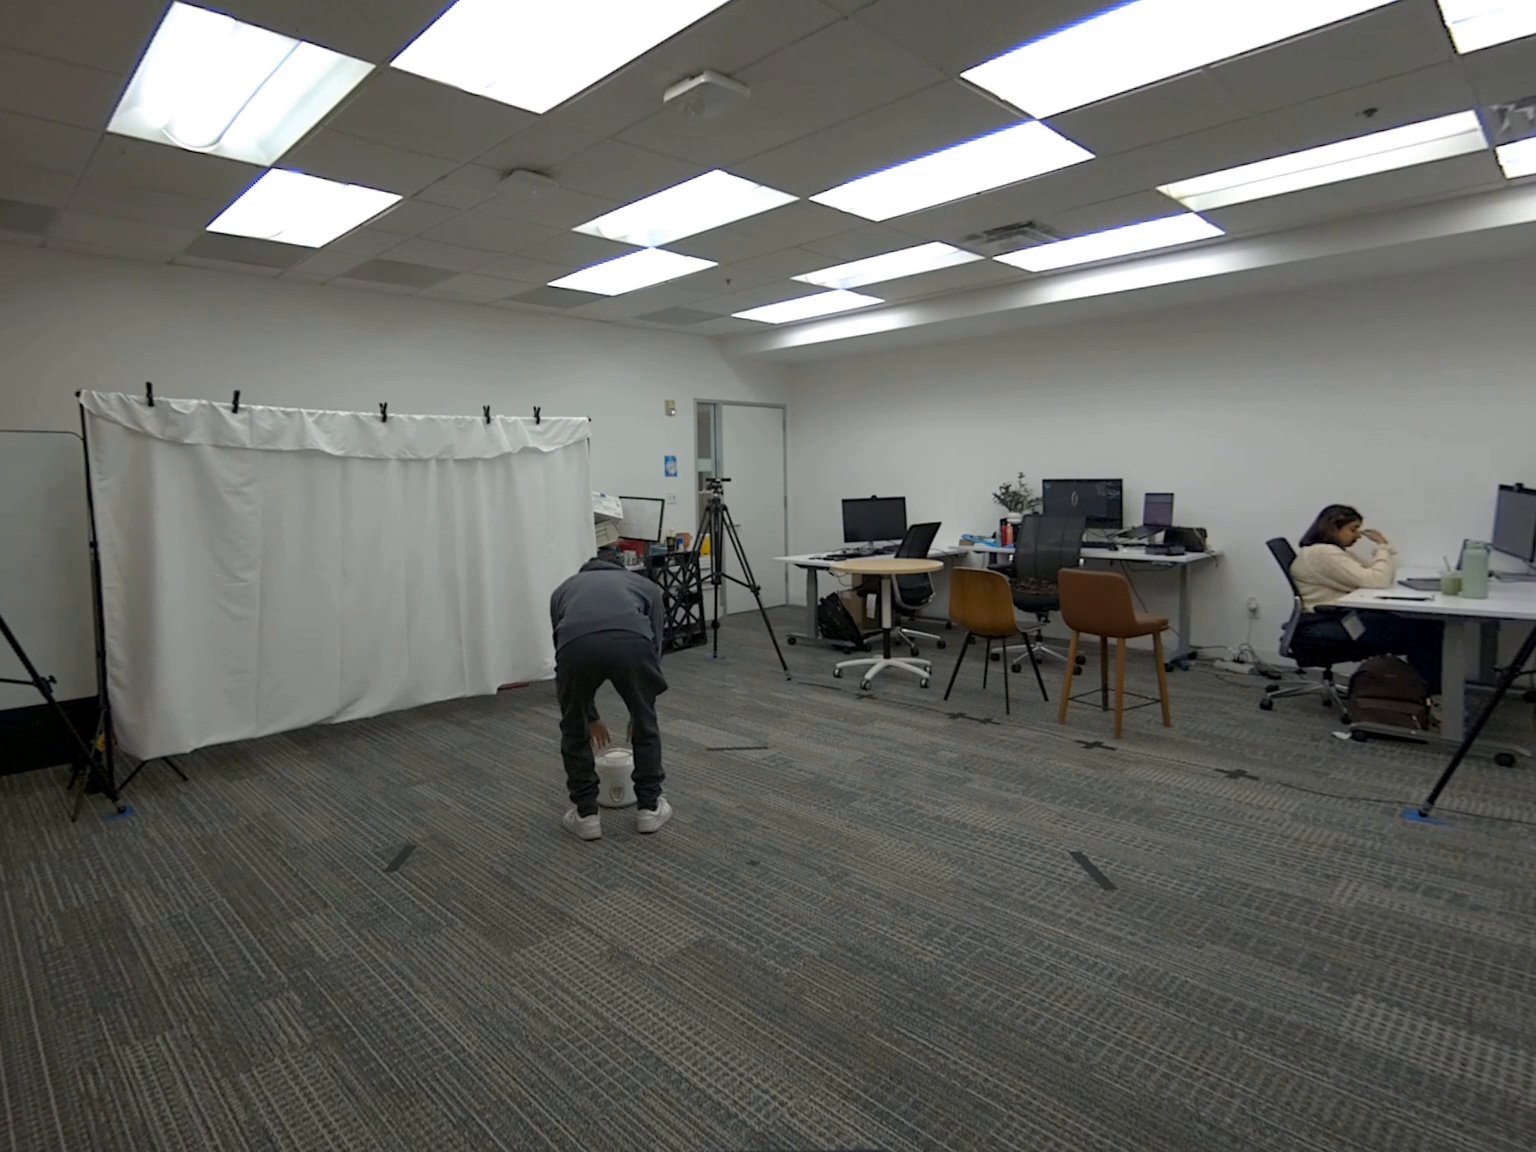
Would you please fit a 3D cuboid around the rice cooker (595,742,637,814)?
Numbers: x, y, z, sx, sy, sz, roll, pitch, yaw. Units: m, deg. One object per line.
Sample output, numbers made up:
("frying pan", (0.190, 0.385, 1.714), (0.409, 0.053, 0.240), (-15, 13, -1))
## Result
("rice cooker", (-0.647, 0.870, 3.730), (0.219, 0.232, 0.220), (-2, 5, -7))
